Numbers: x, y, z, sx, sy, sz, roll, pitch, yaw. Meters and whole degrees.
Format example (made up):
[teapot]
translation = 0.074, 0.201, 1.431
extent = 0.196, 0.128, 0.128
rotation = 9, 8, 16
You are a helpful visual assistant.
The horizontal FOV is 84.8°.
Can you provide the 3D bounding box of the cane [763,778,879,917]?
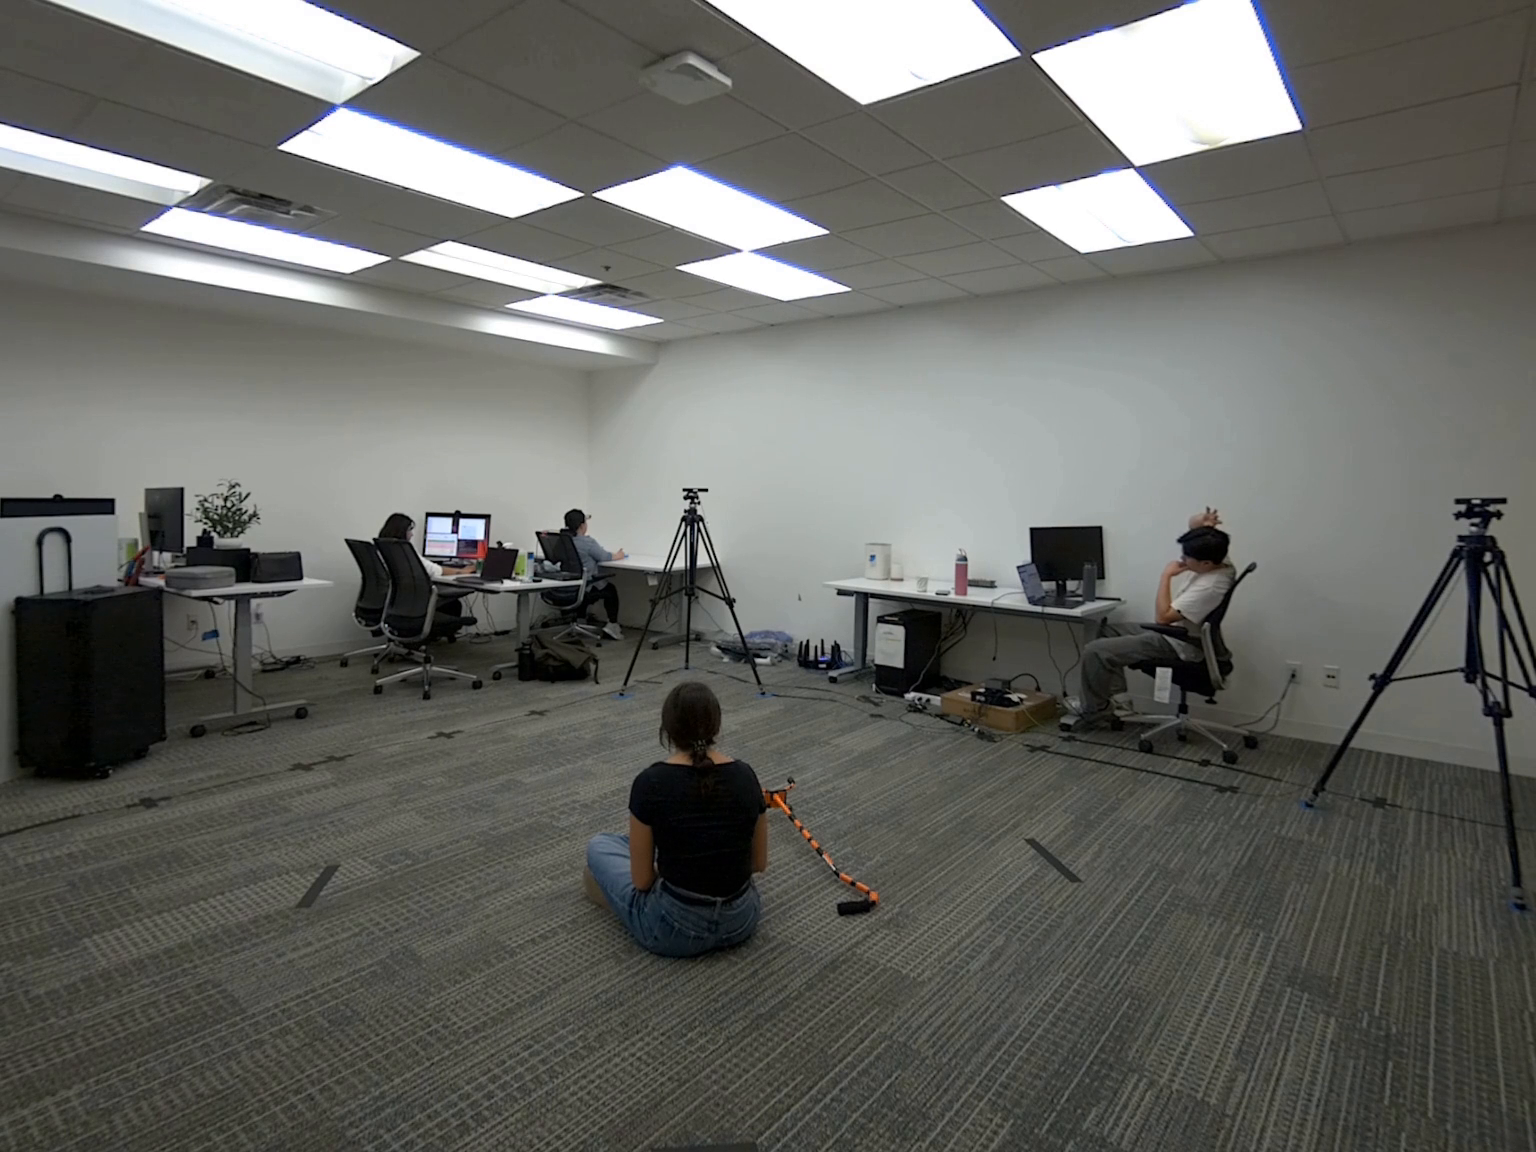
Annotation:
[cane]
translation = 0.169, 1.013, 3.246
extent = 0.202, 0.150, 0.932
rotation = 0, 10, -19
